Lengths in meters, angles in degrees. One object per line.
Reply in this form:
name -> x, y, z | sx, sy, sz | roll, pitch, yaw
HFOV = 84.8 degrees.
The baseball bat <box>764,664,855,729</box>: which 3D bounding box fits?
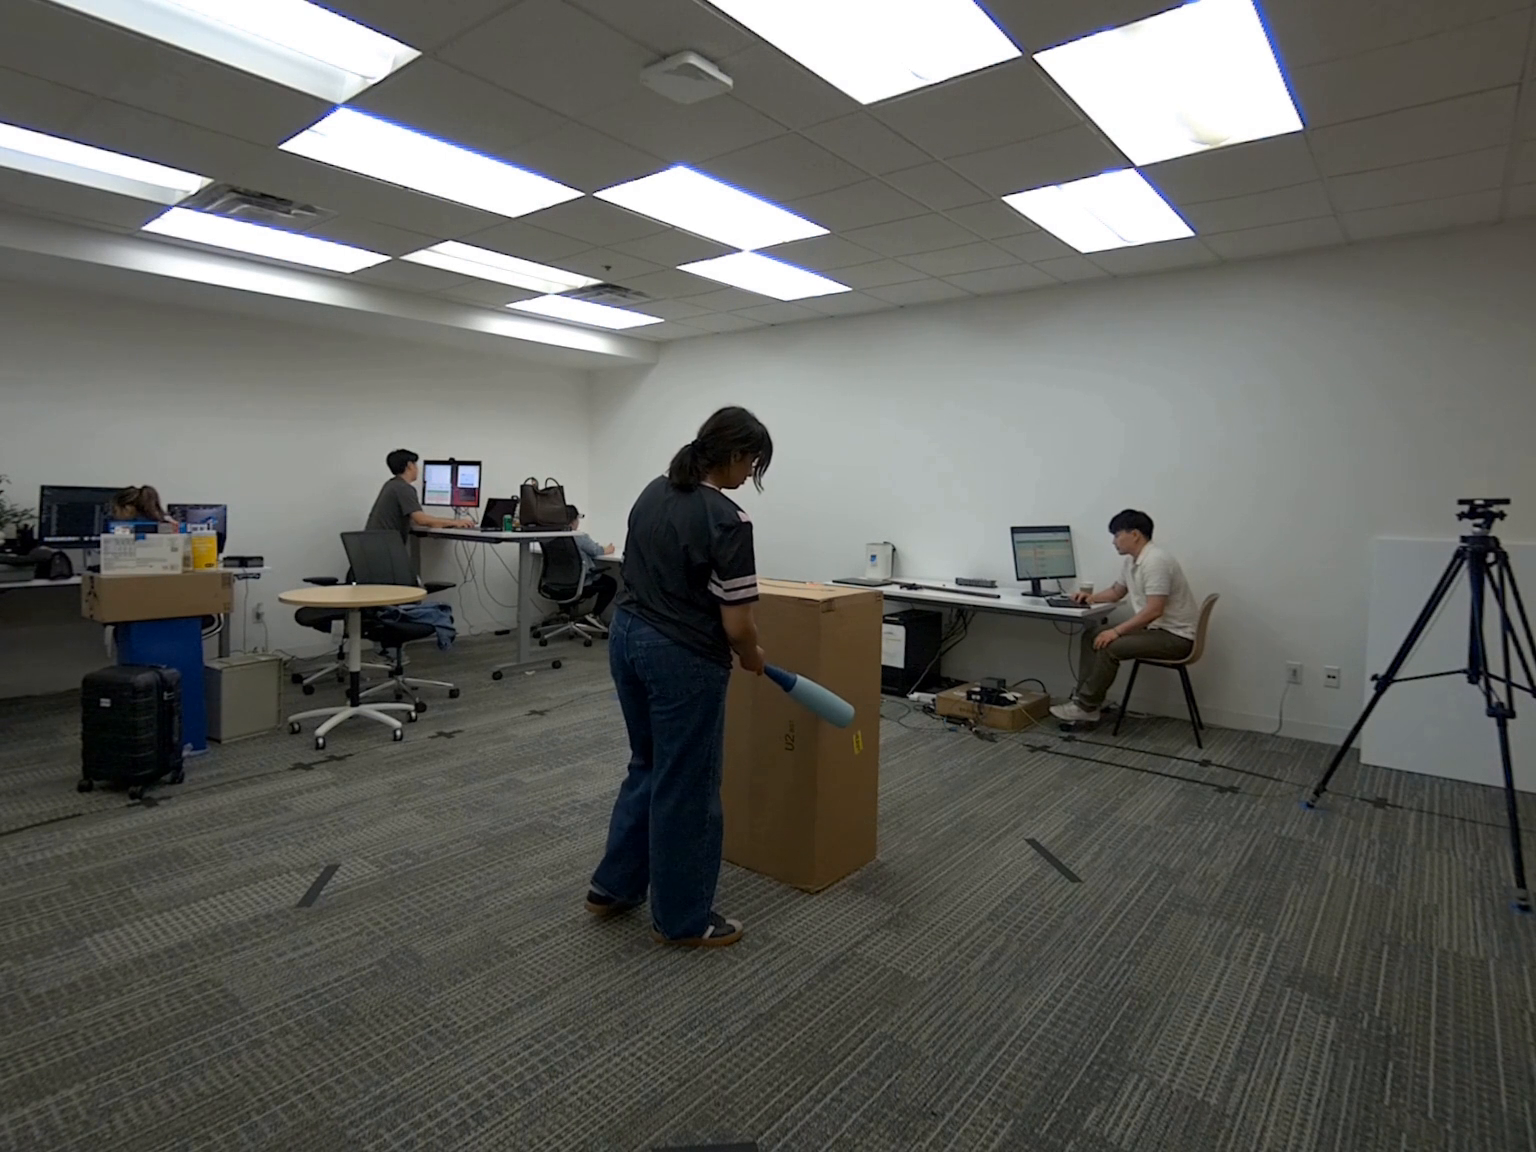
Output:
baseball bat -> 0.050, 0.346, 2.801 | 0.532, 0.089, 0.091 | 33, -6, -15
